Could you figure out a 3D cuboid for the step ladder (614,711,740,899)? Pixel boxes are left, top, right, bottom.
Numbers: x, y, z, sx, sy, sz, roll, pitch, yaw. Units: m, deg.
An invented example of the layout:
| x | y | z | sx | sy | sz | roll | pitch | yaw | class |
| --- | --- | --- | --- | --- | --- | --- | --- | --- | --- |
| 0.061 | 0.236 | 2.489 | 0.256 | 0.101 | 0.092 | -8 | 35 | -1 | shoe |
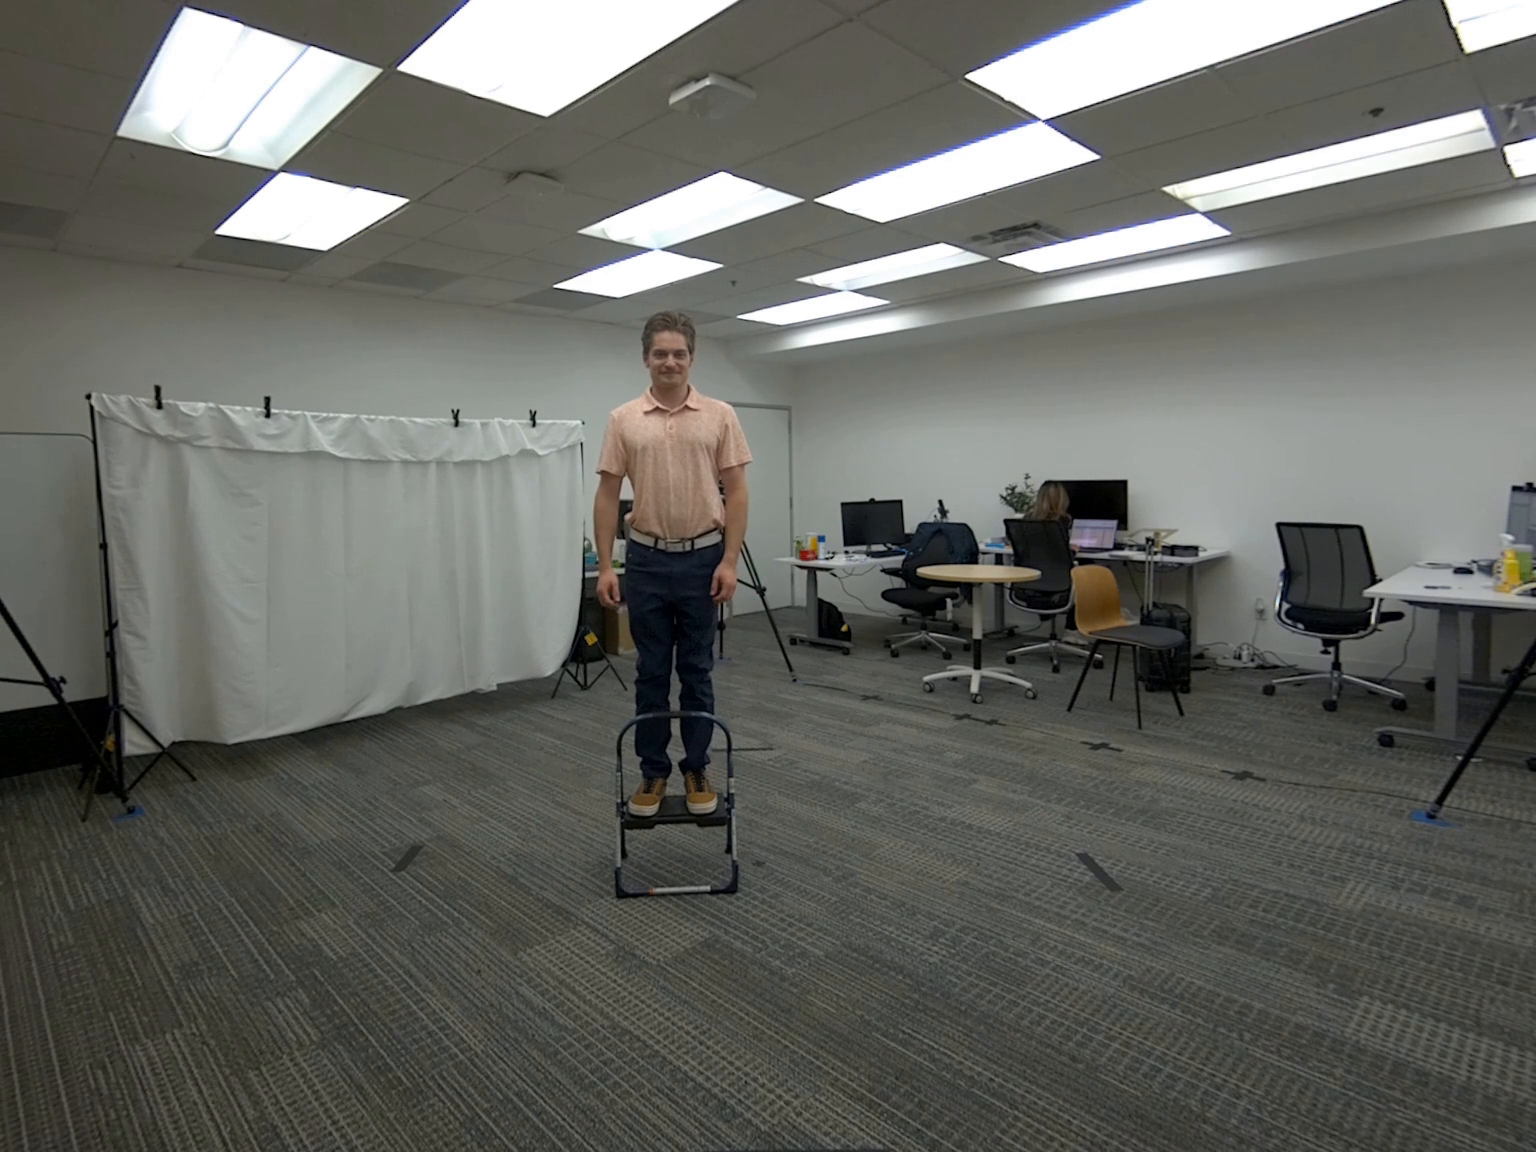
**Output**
| x | y | z | sx | sy | sz | roll | pitch | yaw | class |
| --- | --- | --- | --- | --- | --- | --- | --- | --- | --- |
| -0.328 | 0.763 | 3.028 | 0.429 | 0.604 | 0.352 | -1 | 3 | -5 | step ladder |
